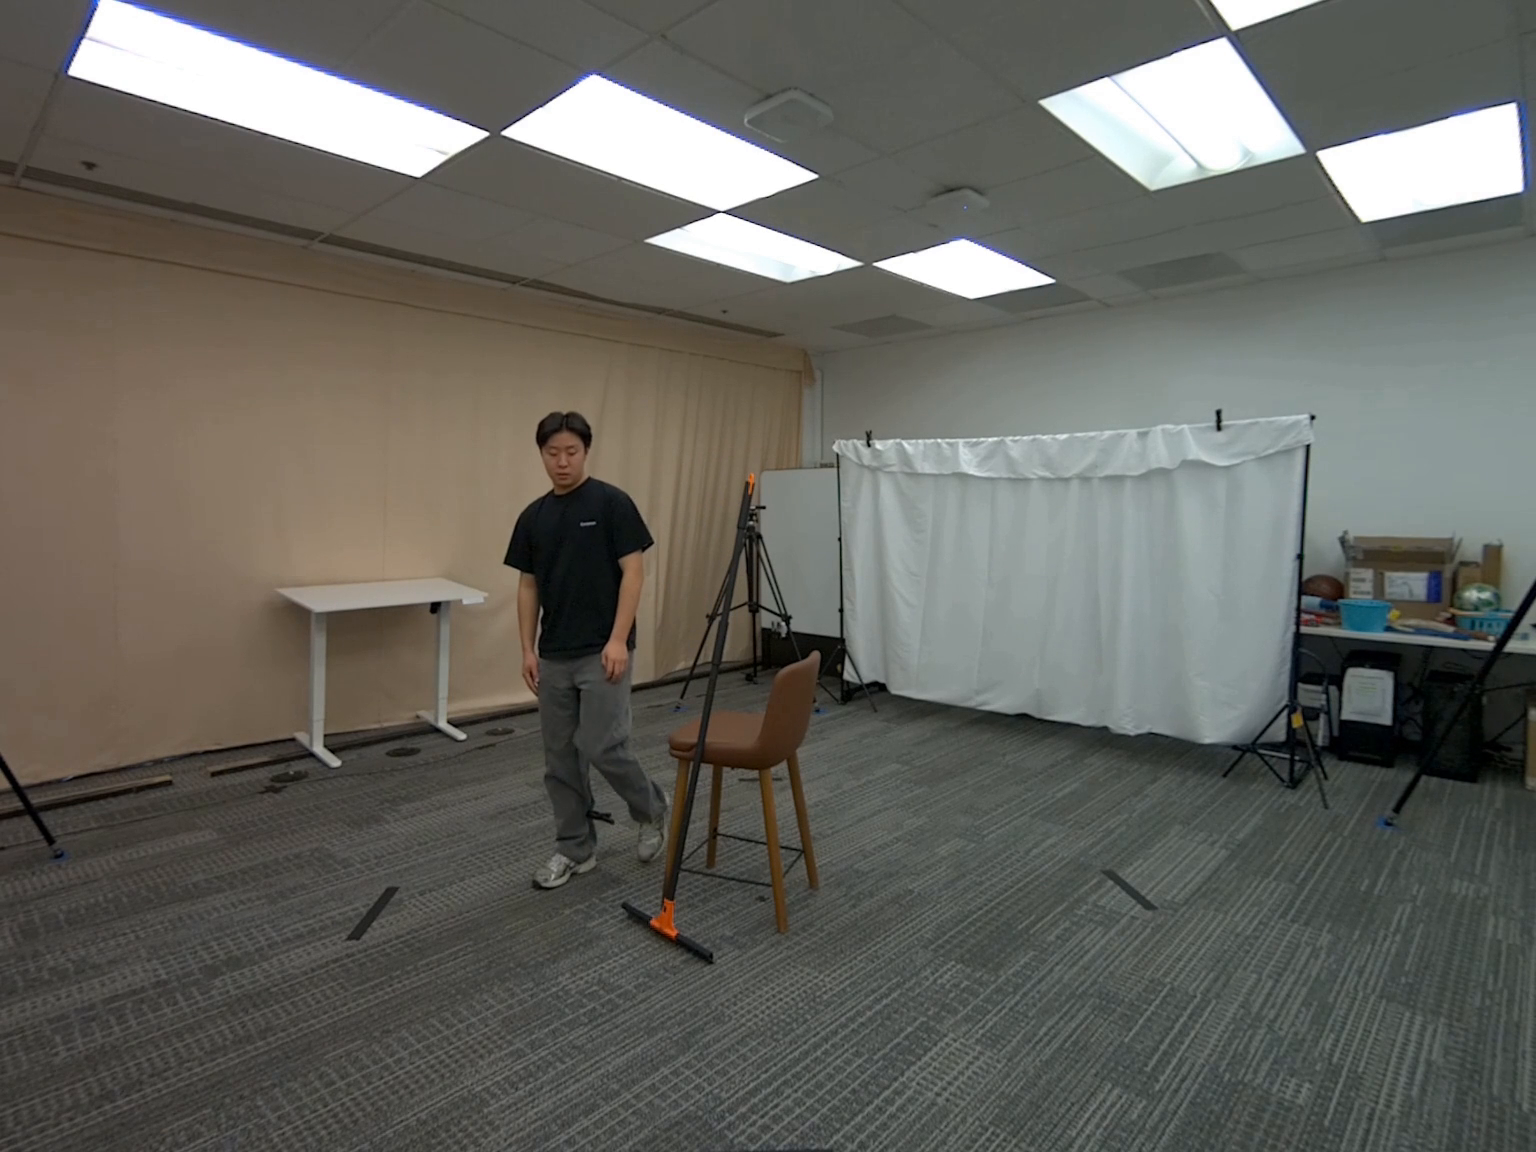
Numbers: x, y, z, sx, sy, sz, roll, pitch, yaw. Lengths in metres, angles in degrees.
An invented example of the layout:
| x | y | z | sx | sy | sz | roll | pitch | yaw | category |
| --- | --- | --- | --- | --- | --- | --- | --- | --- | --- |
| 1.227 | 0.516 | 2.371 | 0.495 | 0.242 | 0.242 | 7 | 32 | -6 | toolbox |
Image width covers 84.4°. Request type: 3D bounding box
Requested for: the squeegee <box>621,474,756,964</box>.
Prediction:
| x | y | z | sx | sy | sz | roll | pitch | yaw | category |
| --- | --- | --- | --- | --- | --- | --- | --- | --- | --- |
| -0.194 | 0.403 | 2.784 | 0.051 | 1.541 | 0.452 | 15 | -7 | -42 | squeegee |
